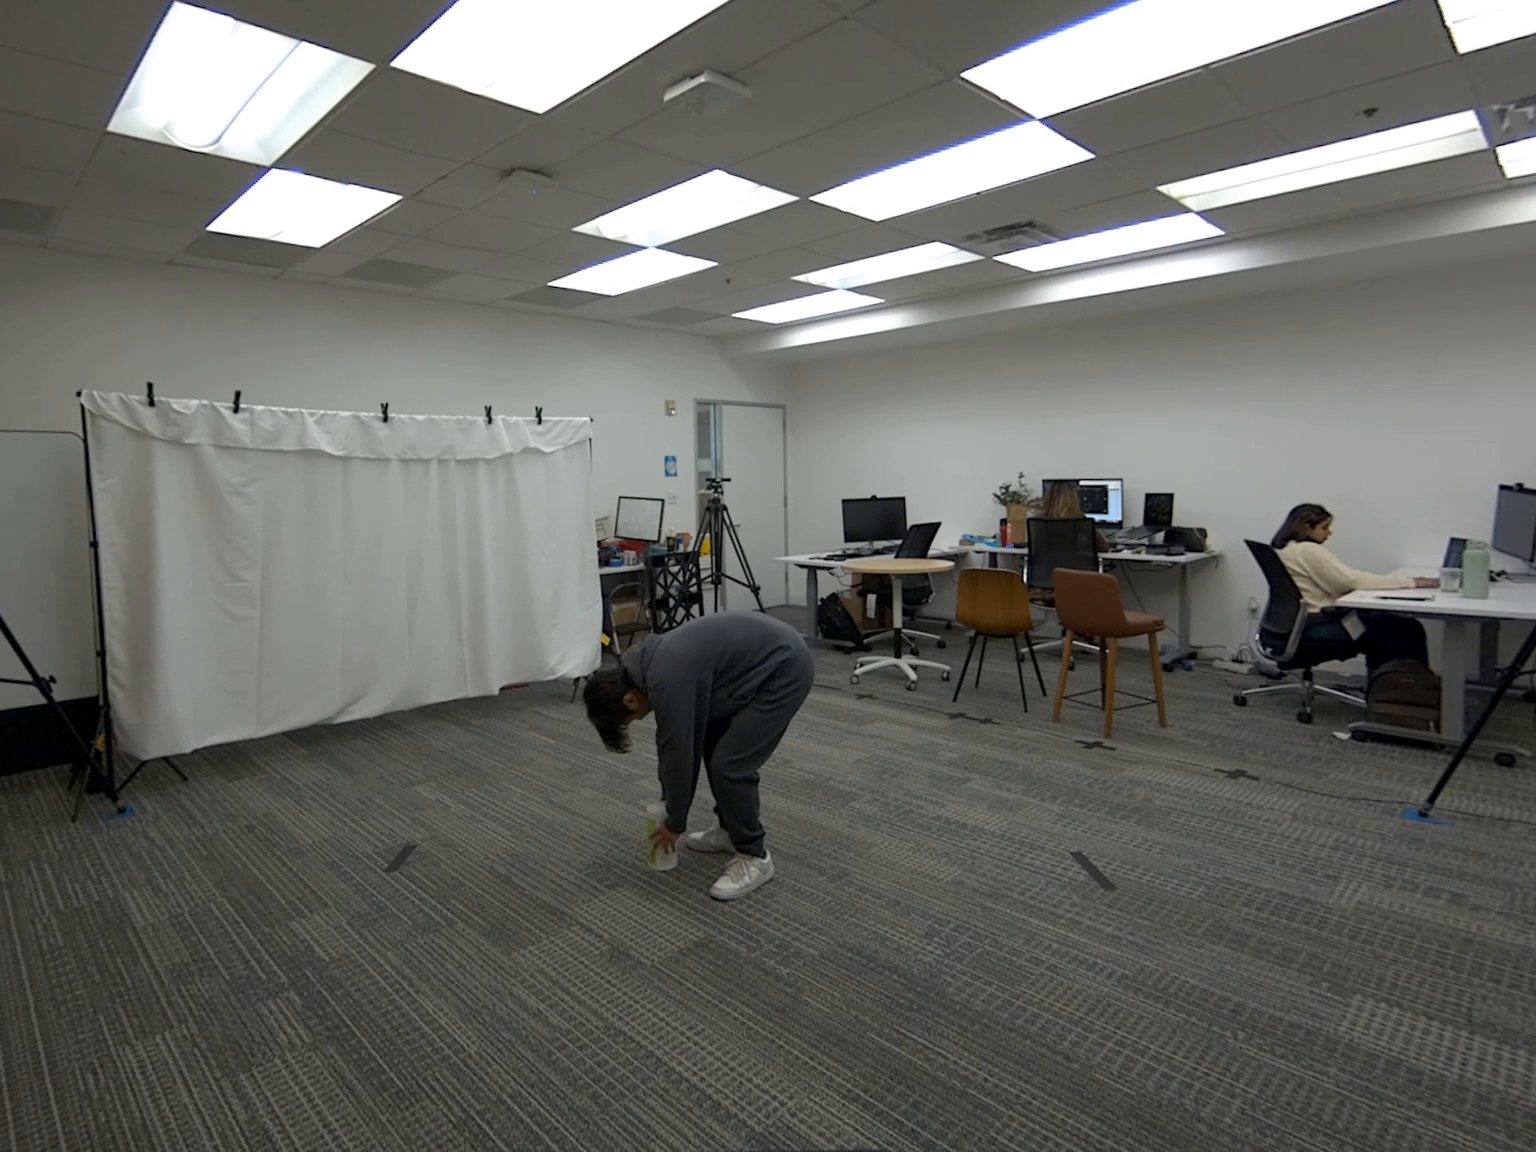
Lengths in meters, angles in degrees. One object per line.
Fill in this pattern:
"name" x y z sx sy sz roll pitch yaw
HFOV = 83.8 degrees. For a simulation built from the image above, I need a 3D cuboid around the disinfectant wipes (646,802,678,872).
"disinfectant wipes" -0.379 0.945 3.103 0.118 0.217 0.118 -2 1 -2
